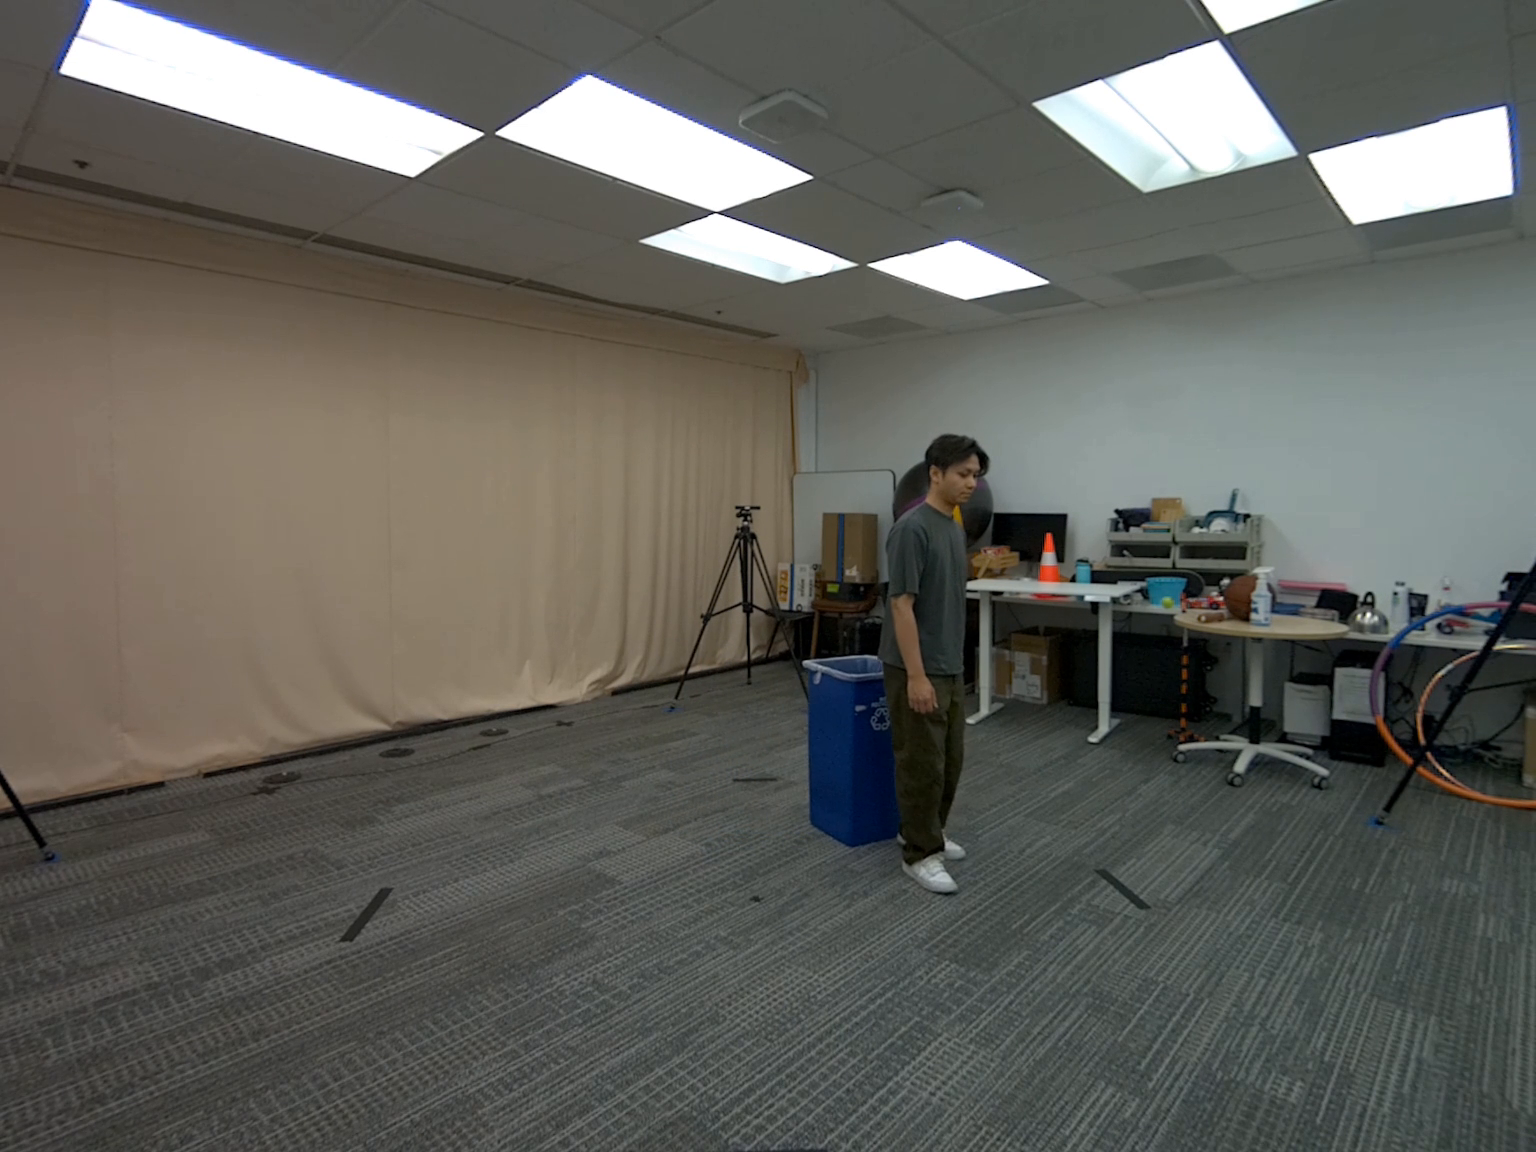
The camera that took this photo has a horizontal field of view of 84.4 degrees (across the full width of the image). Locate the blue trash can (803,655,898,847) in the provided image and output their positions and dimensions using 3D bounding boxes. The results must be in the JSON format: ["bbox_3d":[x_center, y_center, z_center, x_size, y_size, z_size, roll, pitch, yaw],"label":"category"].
[{"bbox_3d":[0.392,0.731,3.618,0.364,0.712,0.389,-2,5,-30],"label":"blue trash can"}]
